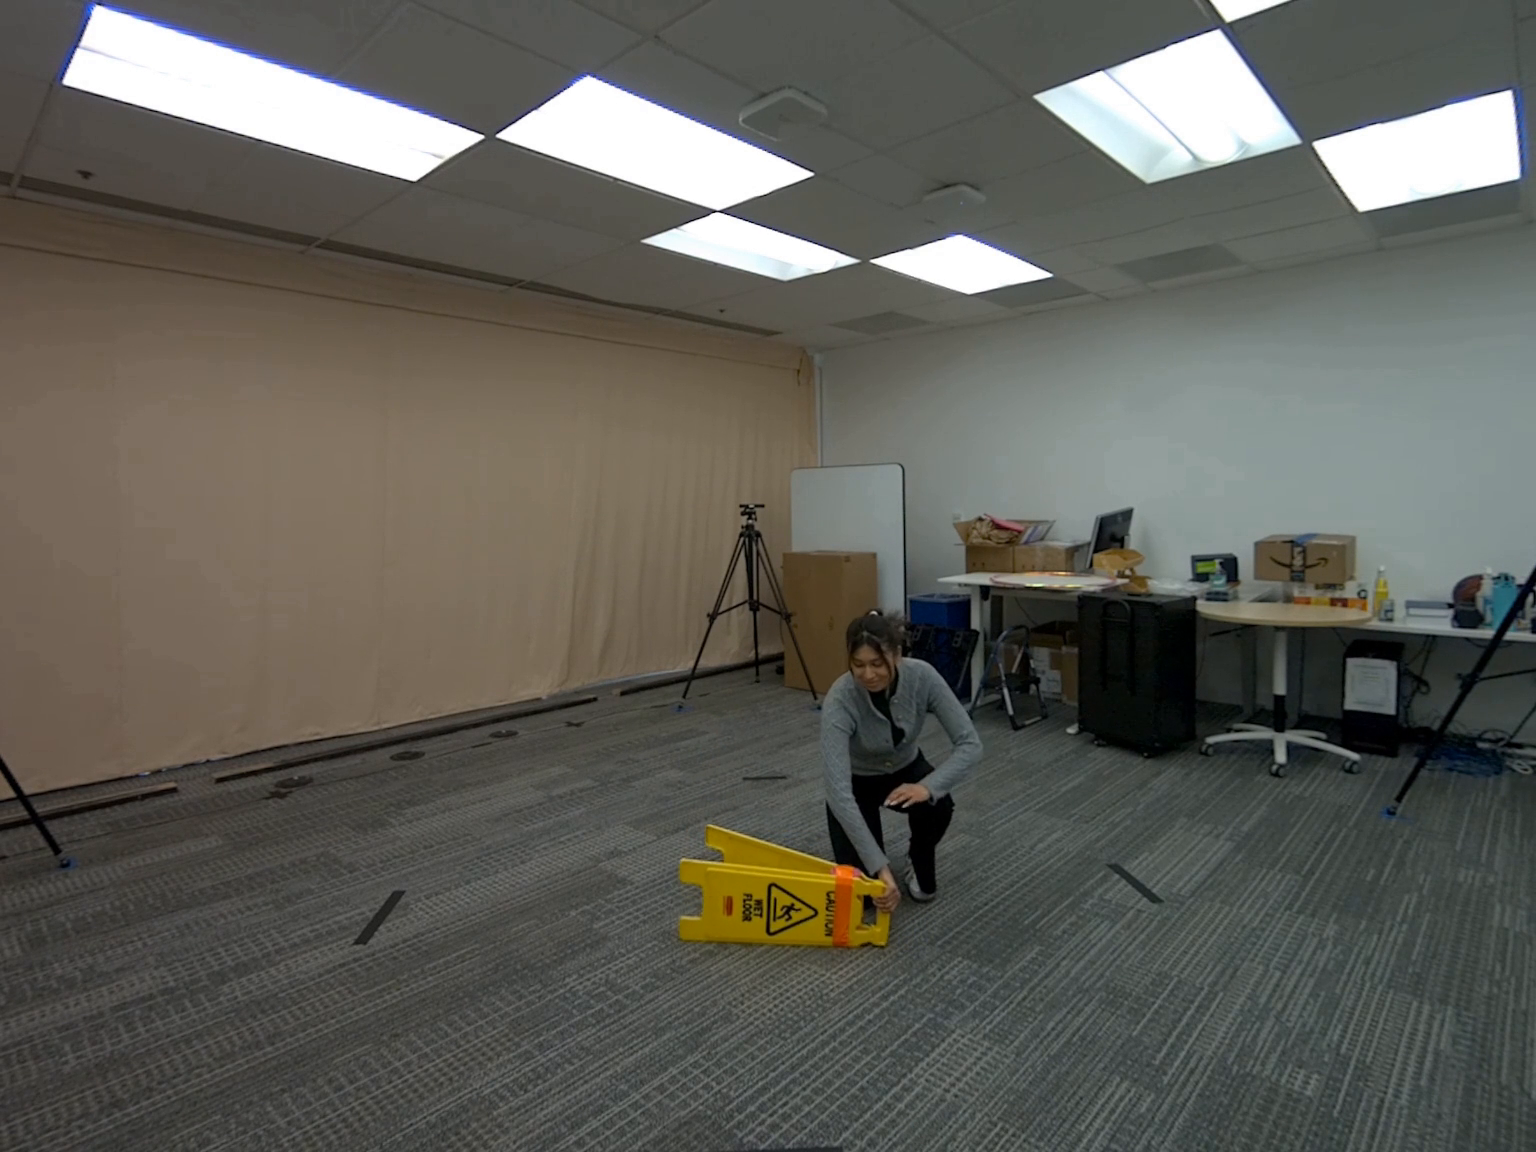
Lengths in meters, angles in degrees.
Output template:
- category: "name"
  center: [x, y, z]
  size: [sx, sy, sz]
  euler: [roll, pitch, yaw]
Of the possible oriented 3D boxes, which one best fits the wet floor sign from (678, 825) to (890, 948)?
- category: "wet floor sign"
  center: [0.071, 1.037, 2.718]
  size: [0.659, 0.281, 0.285]
  euler: [3, 8, 18]
